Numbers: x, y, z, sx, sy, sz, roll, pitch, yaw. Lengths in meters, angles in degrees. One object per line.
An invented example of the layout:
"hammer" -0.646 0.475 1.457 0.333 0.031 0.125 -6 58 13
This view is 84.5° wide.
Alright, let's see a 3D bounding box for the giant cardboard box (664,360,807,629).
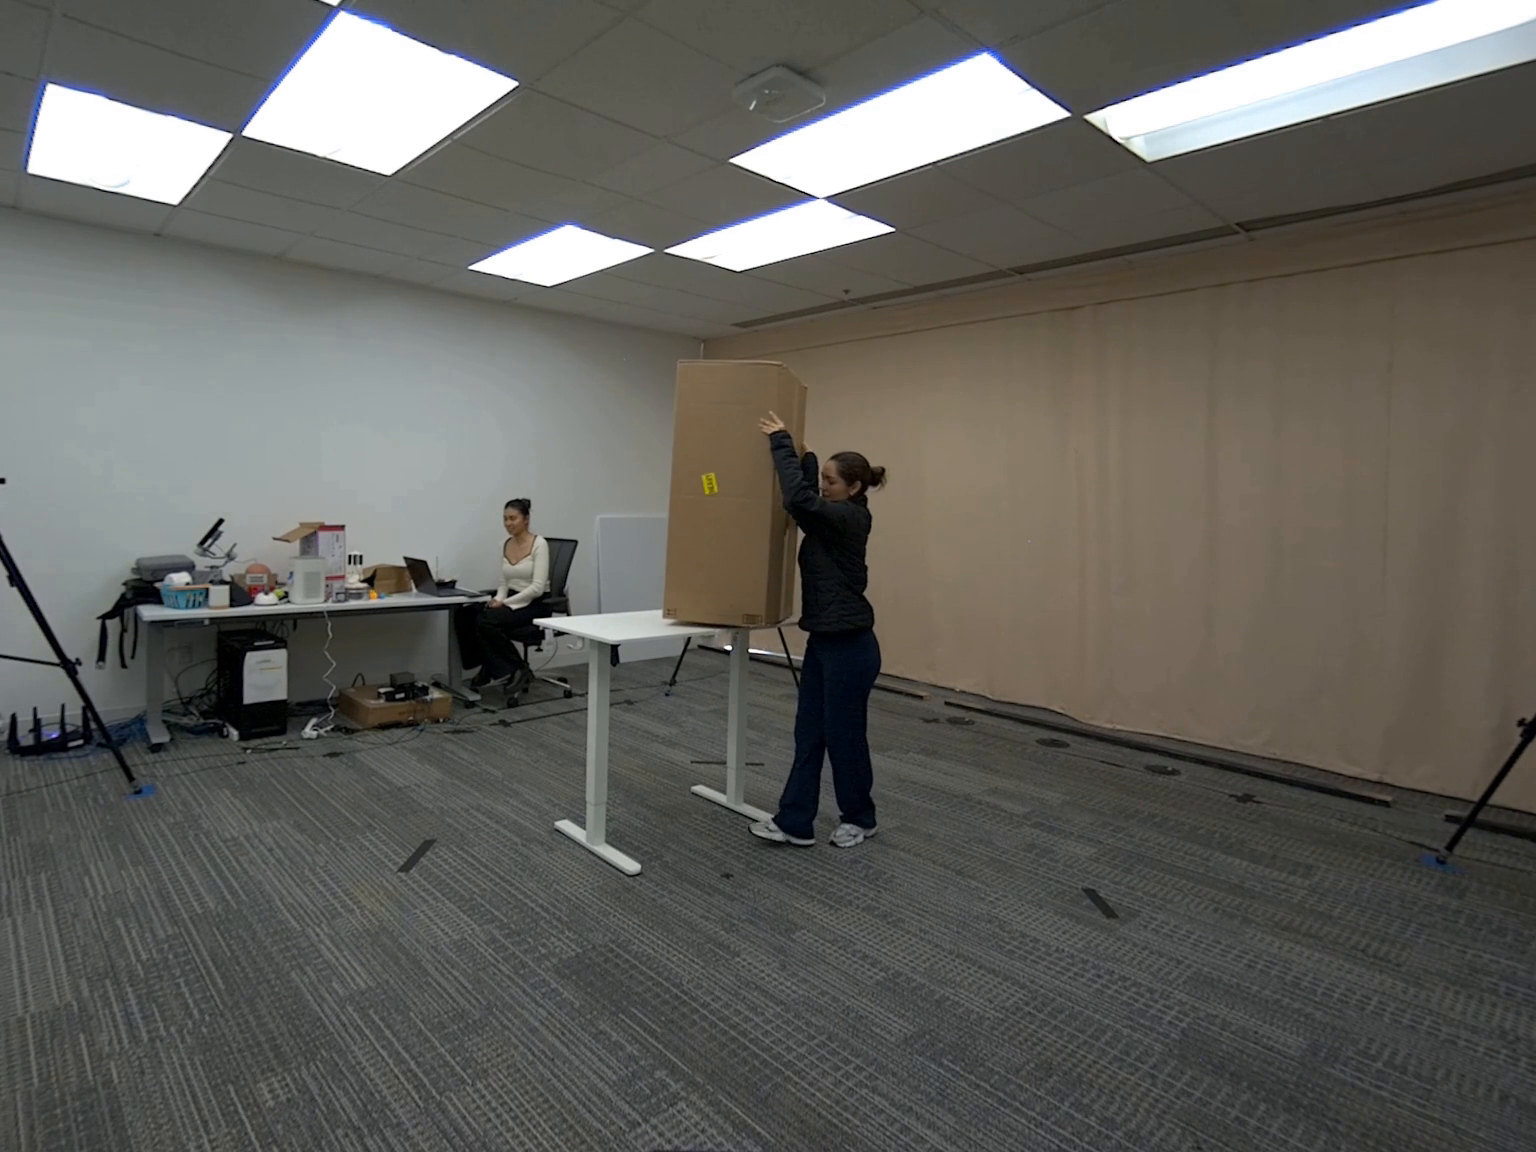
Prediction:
"giant cardboard box" -0.130 -0.335 3.535 0.452 1.026 0.577 3 2 14
